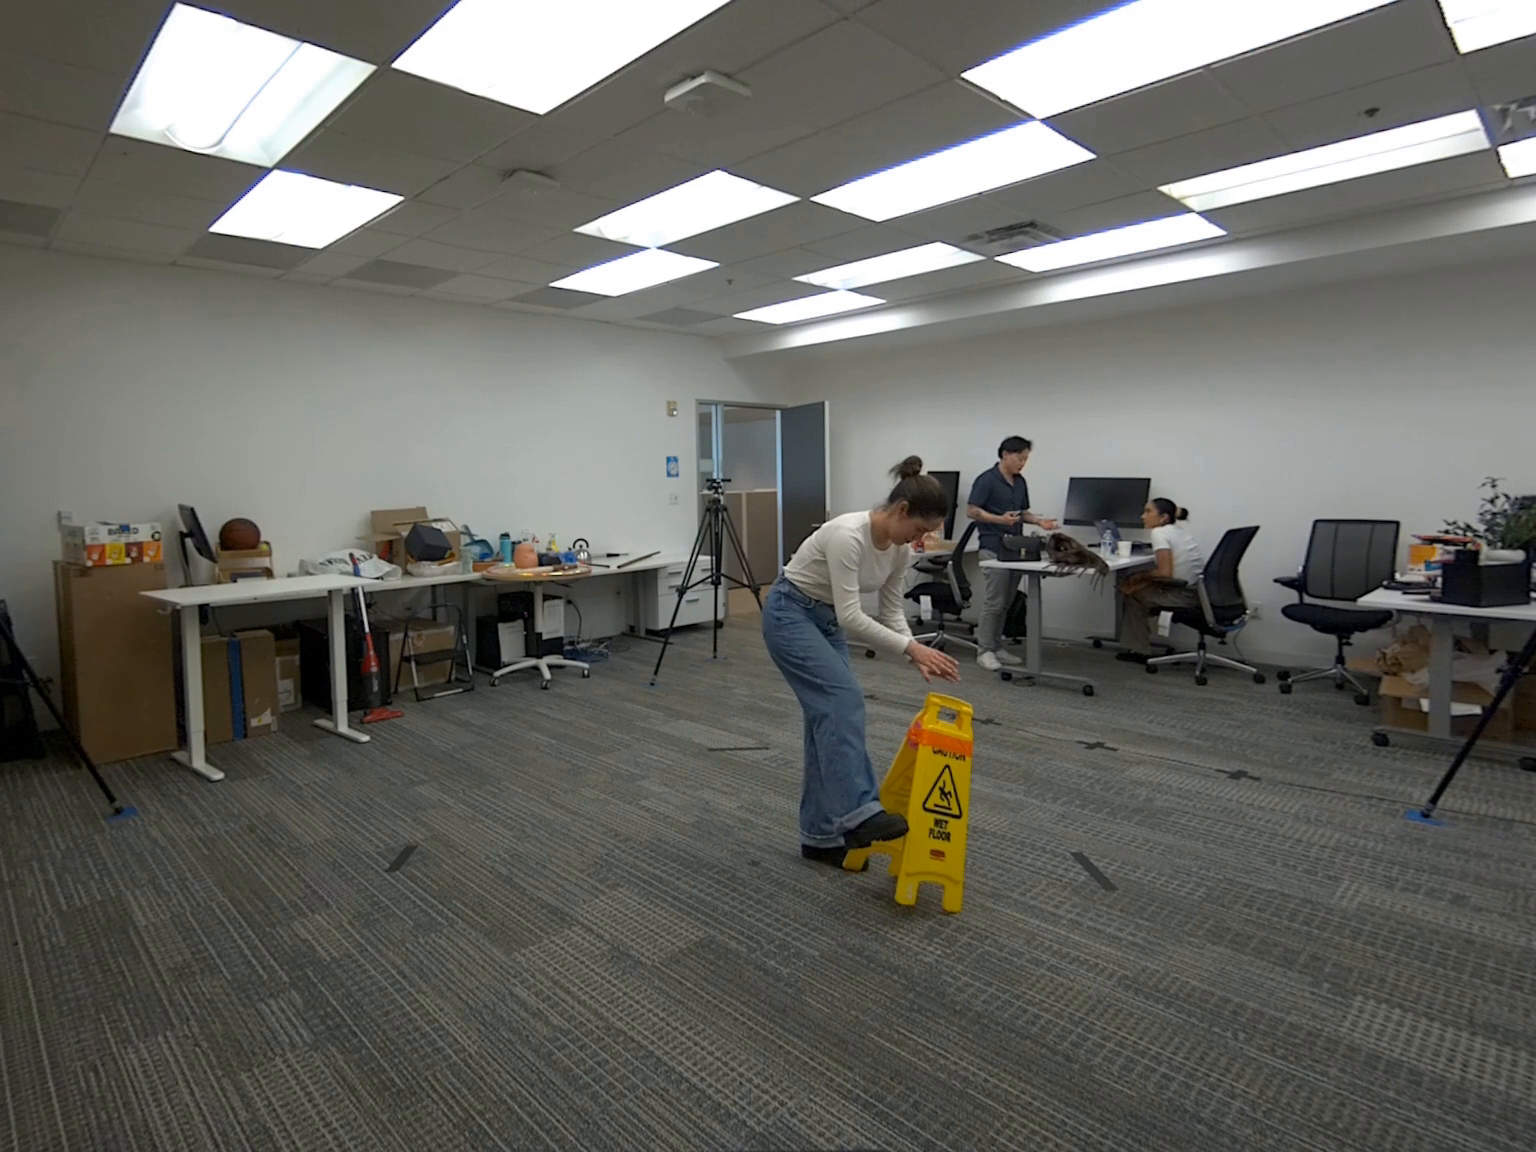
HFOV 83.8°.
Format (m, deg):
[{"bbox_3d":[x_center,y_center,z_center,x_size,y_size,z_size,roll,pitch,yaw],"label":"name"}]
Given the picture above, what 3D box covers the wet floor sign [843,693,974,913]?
[{"bbox_3d":[0.528,0.720,2.837,0.273,0.649,0.298,21,-8,-30],"label":"wet floor sign"}]
